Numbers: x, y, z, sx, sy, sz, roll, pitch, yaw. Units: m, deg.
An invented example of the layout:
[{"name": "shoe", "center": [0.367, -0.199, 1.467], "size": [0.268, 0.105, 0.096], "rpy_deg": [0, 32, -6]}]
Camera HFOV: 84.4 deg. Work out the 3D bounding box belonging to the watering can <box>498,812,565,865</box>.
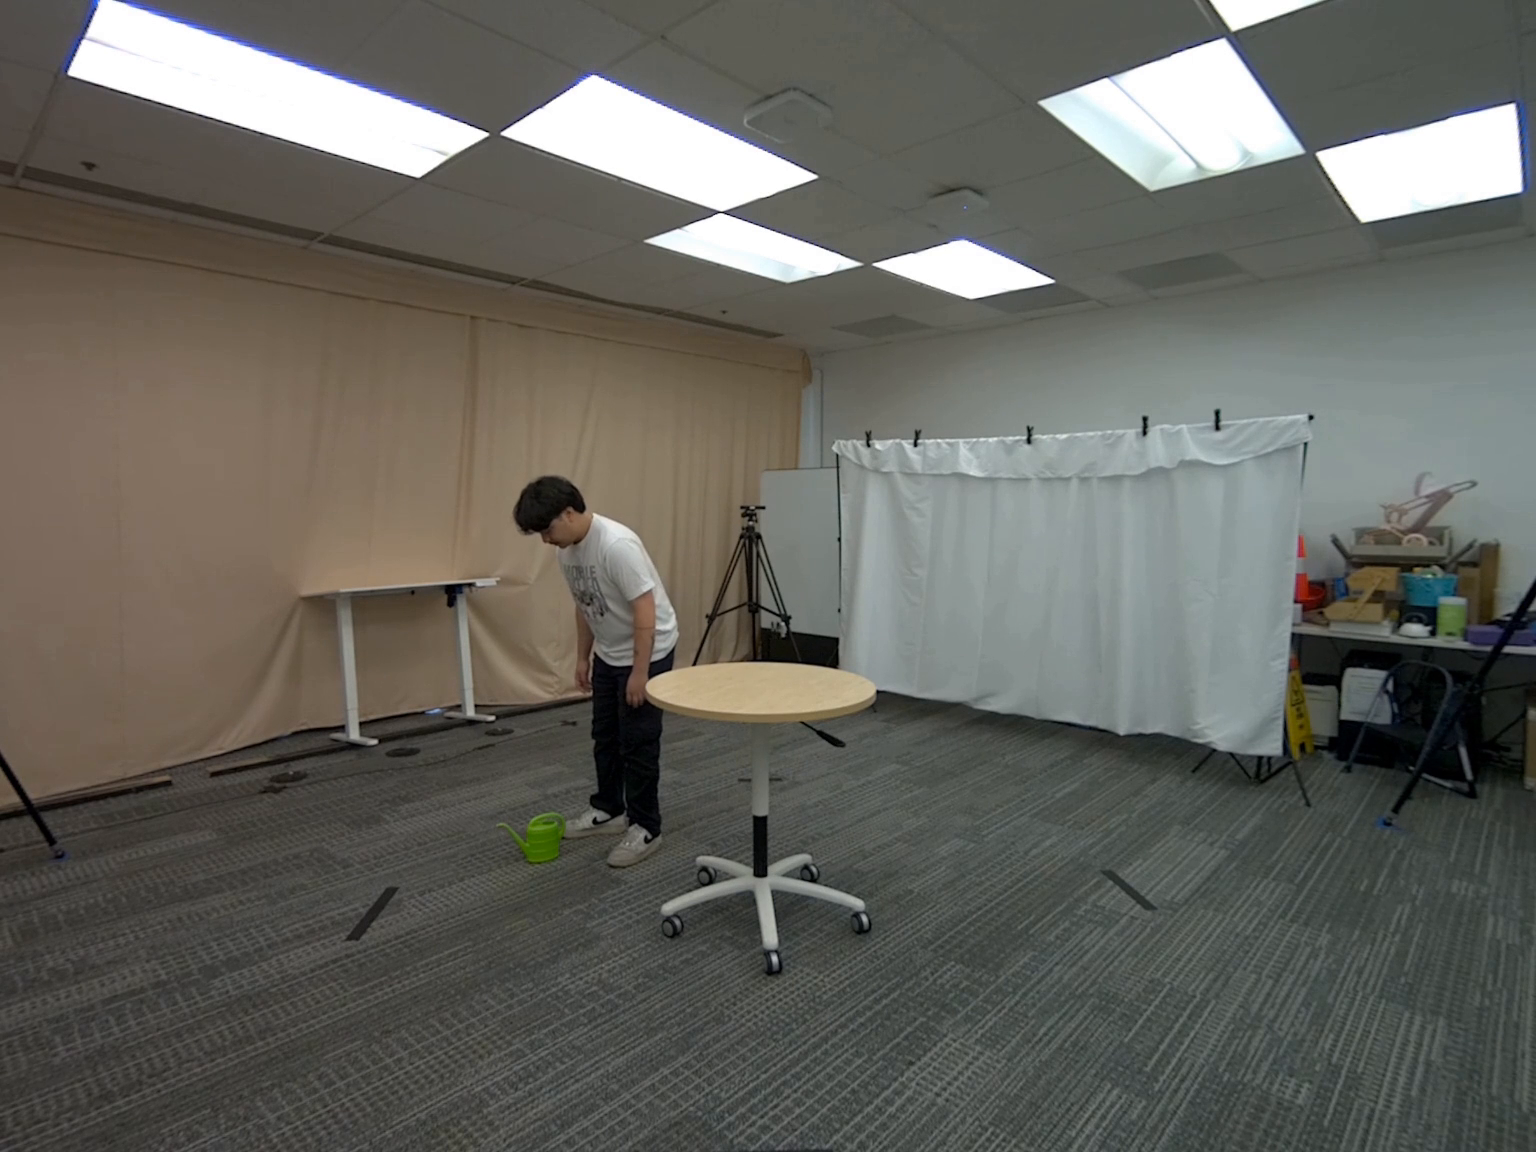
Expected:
[{"name": "watering can", "center": [-0.944, 1.037, 3.332], "size": [0.273, 0.177, 0.100], "rpy_deg": [0, 1, -19]}]
